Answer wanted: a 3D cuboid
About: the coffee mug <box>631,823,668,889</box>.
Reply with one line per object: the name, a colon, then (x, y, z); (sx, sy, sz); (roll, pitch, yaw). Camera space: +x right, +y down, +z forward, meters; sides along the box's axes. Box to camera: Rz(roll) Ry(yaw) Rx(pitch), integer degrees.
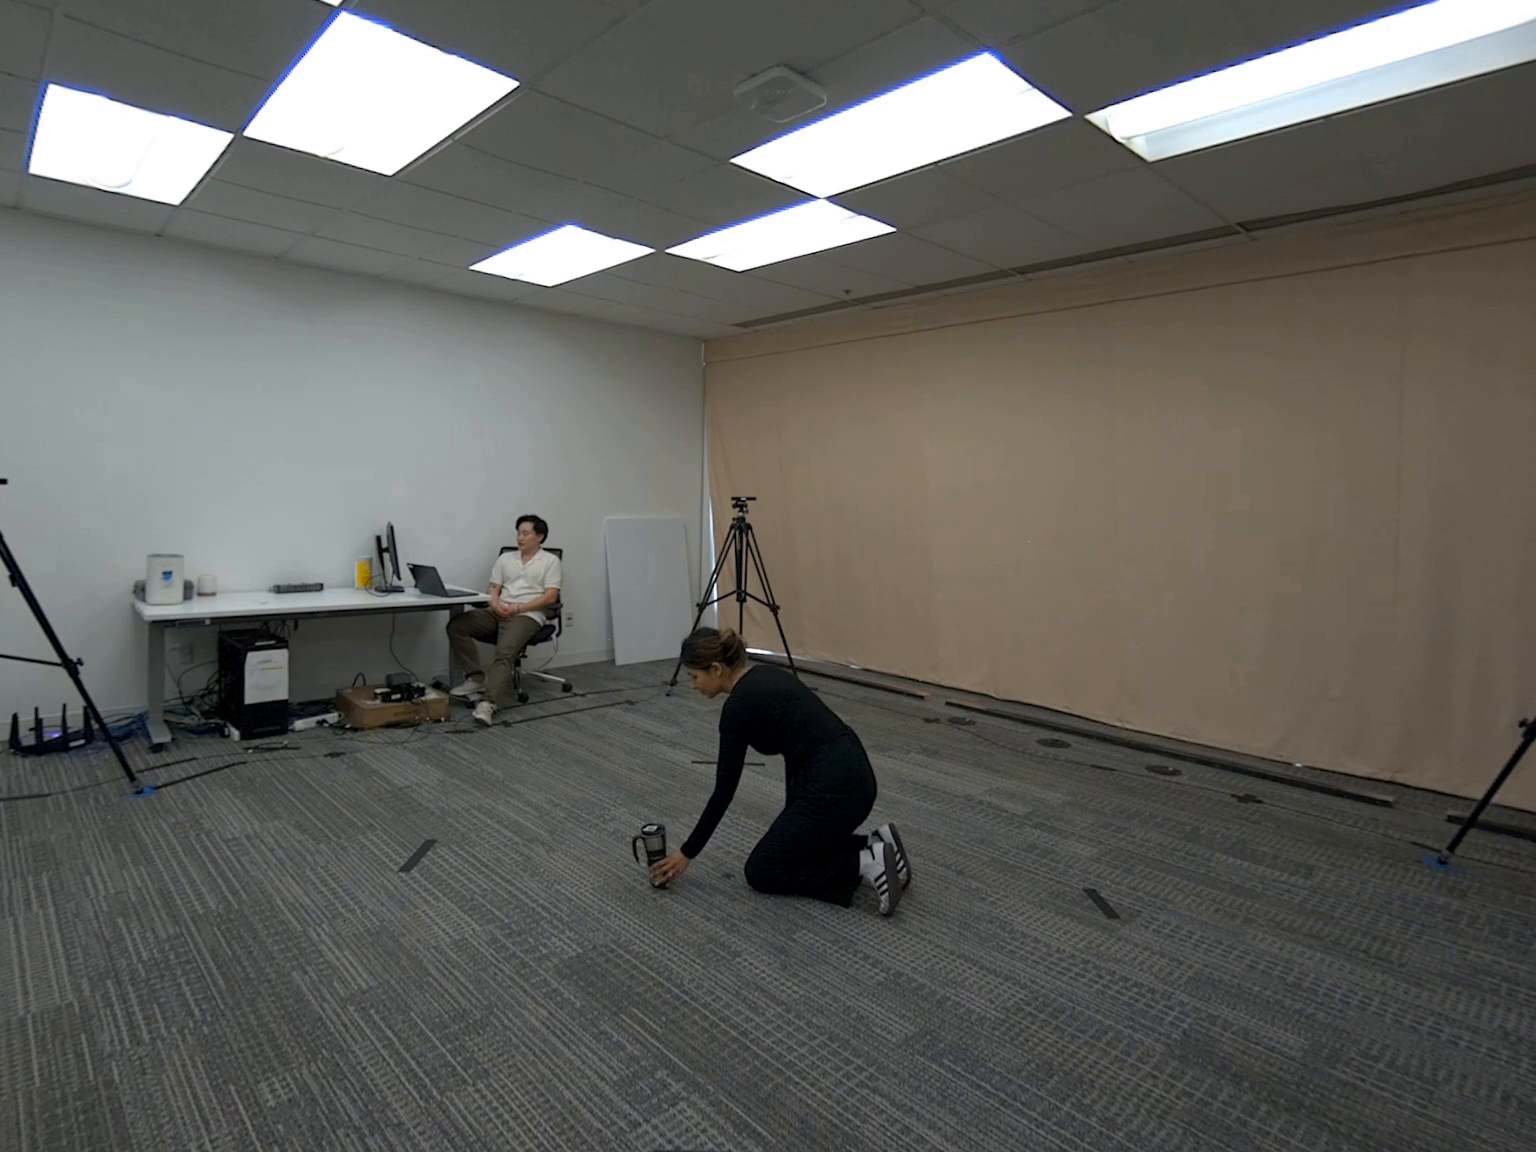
coffee mug: (-0.420, 0.989, 3.002); (0.123, 0.202, 0.087); (-3, 5, 8)
